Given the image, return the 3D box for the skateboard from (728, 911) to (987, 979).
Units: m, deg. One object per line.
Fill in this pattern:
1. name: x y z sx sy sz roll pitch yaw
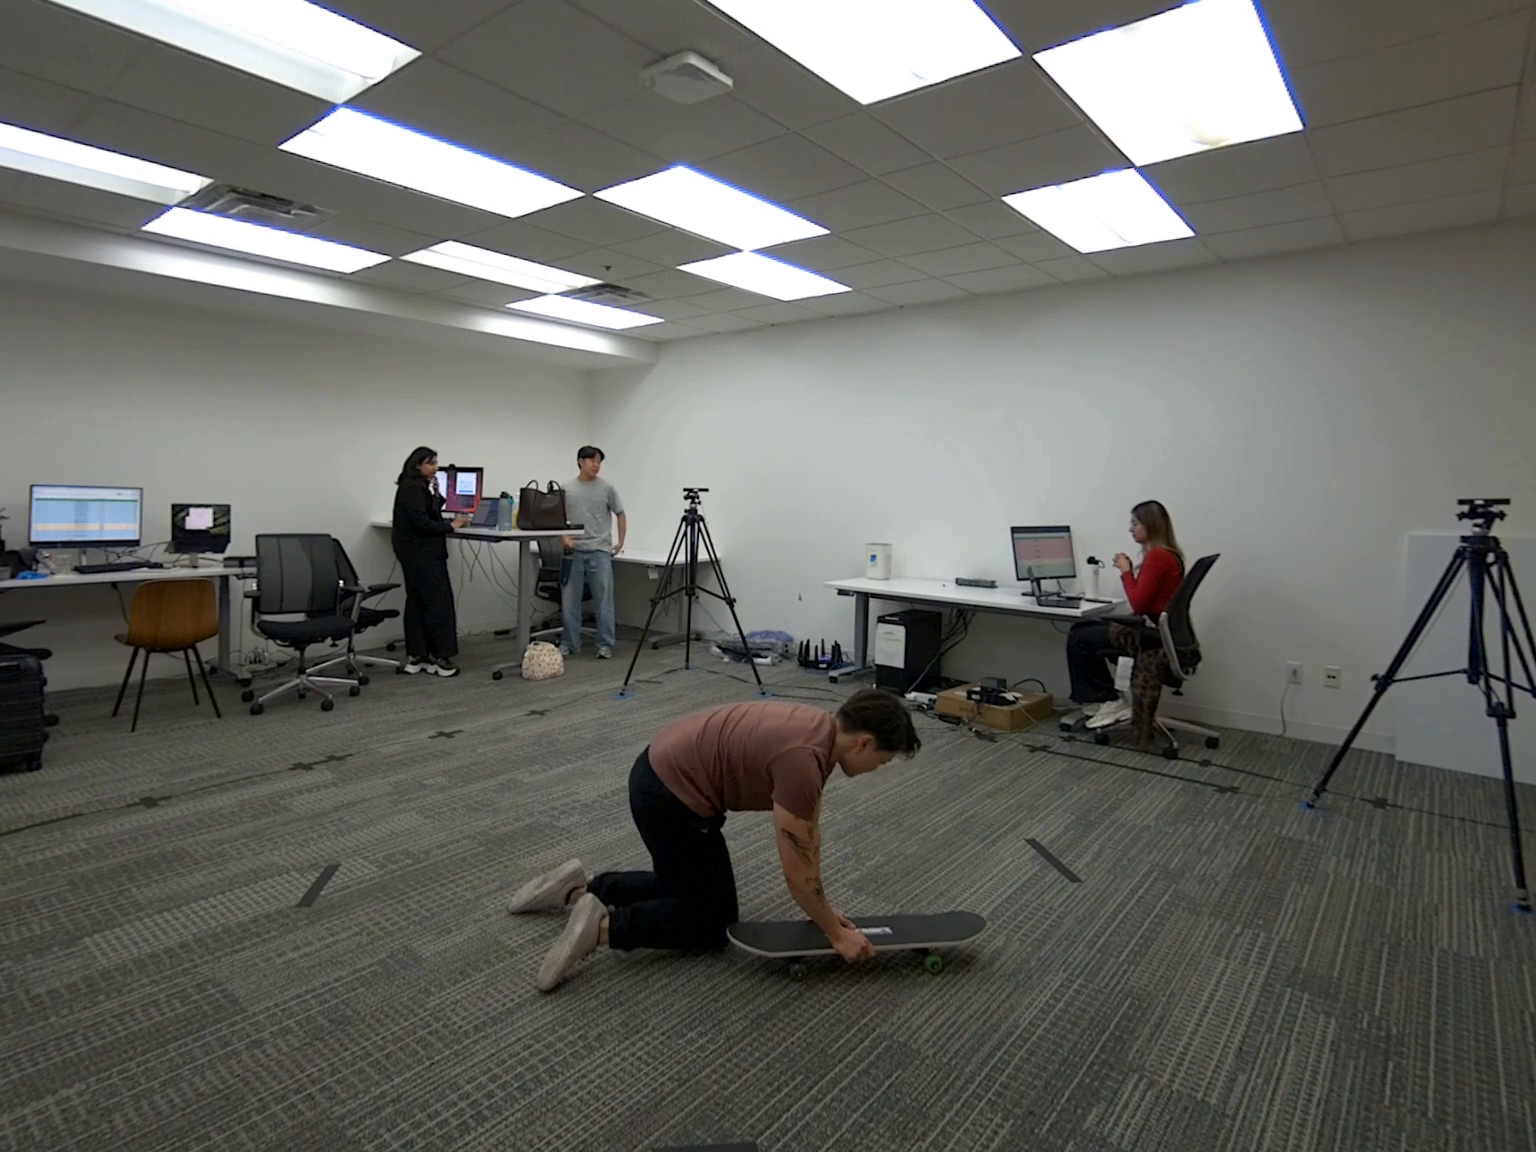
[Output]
1. skateboard: 0.268 1.090 2.516 0.777 0.110 0.195 0 2 -10
